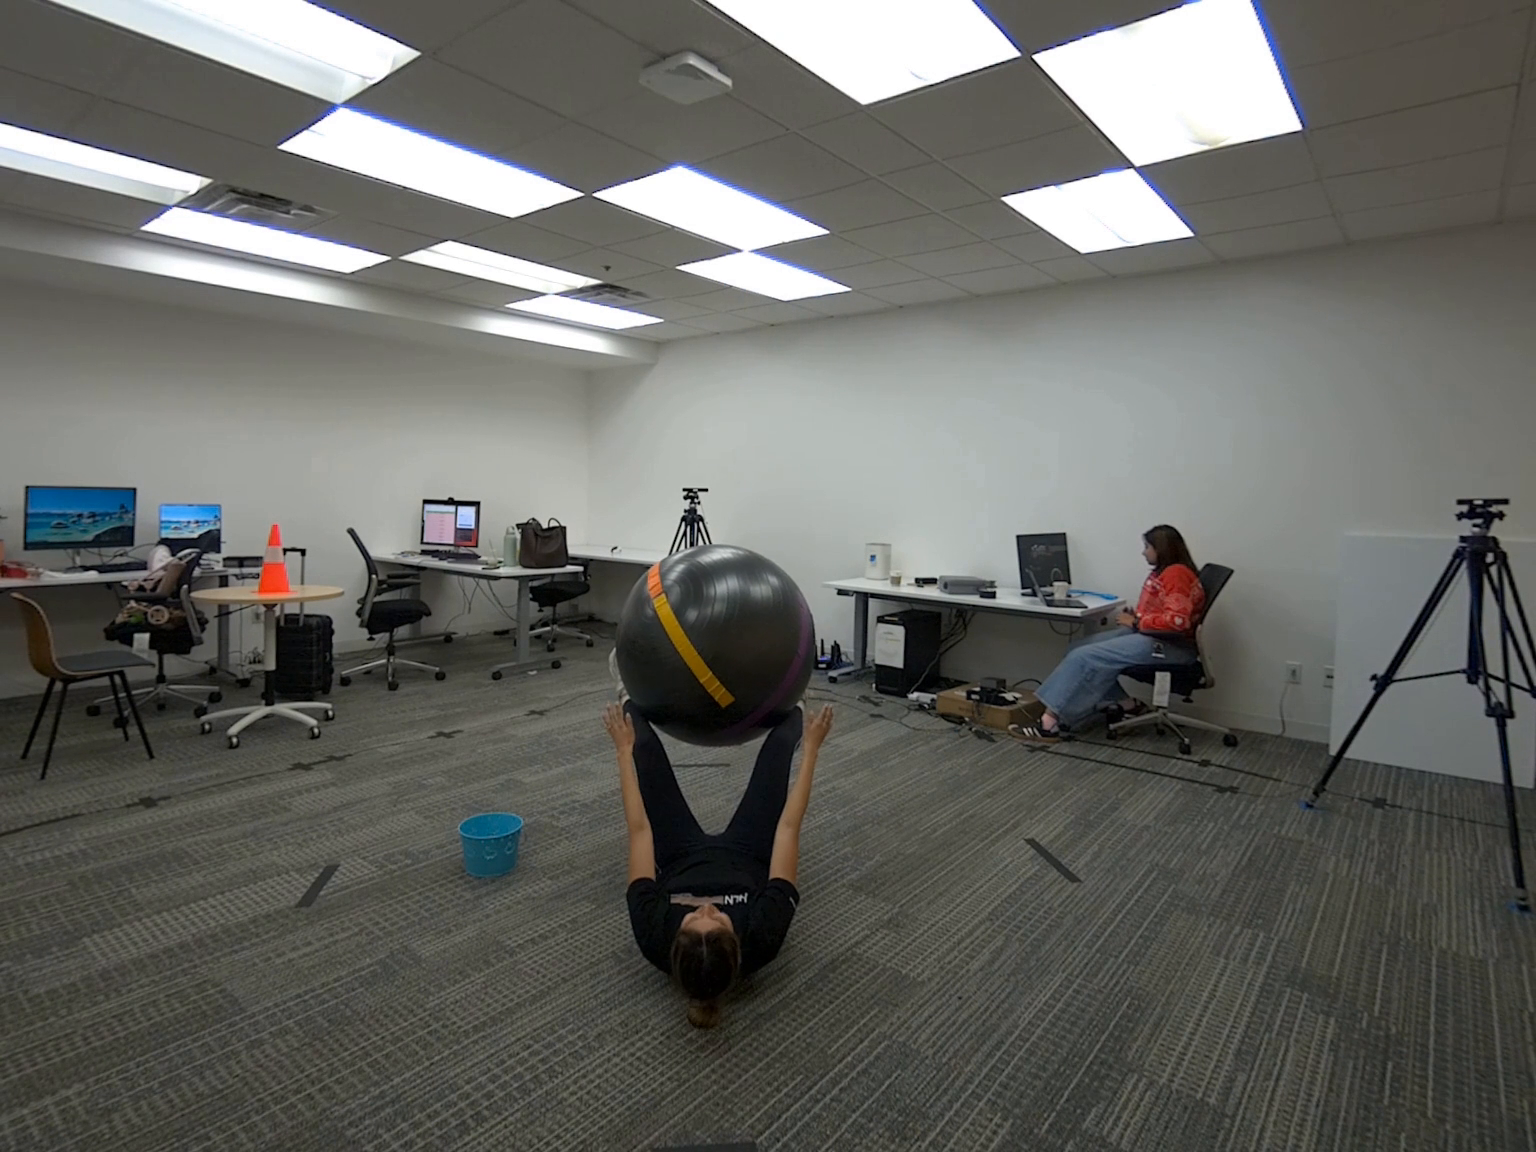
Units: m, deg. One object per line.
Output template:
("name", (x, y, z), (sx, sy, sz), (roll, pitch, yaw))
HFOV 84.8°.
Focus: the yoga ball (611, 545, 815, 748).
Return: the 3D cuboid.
("yoga ball", (-0.200, 0.256, 3.203), (0.757, 0.756, 0.762), (1, 4, -2))
